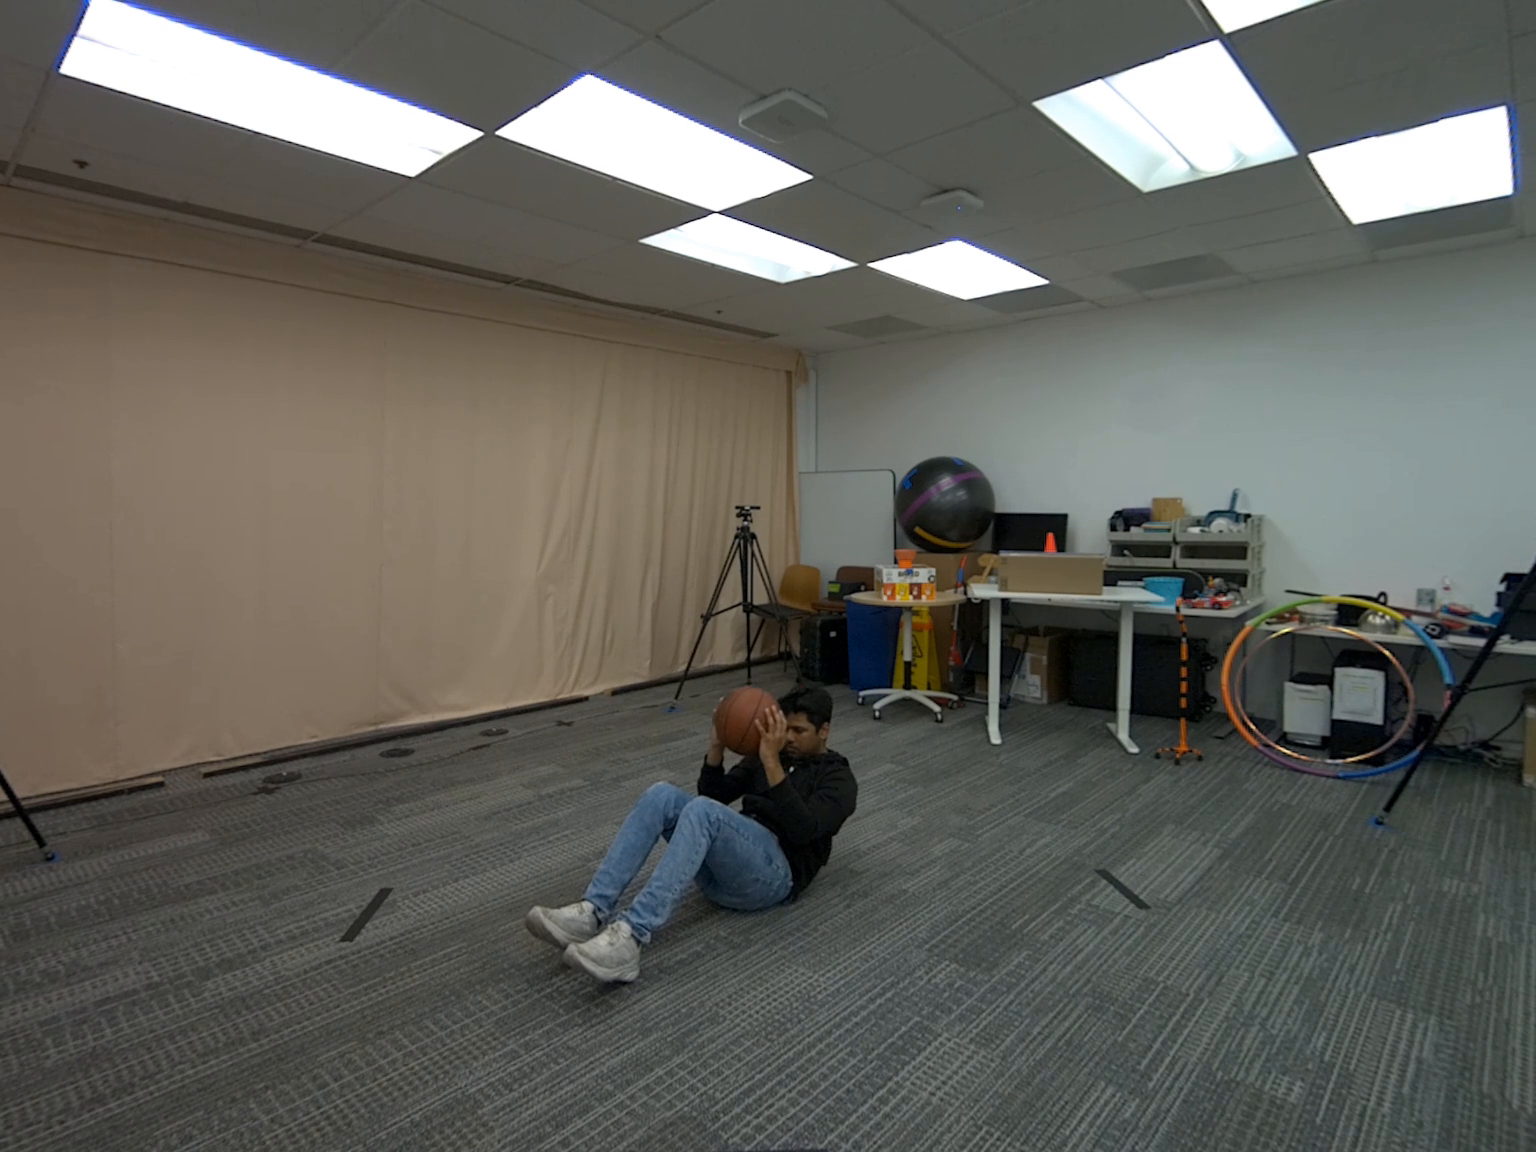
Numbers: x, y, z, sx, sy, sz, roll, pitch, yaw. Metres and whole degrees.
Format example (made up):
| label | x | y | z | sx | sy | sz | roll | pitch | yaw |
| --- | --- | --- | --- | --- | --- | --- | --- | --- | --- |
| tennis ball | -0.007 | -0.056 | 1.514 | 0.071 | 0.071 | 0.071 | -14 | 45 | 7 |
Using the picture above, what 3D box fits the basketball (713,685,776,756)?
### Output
| label | x | y | z | sx | sy | sz | roll | pitch | yaw |
| --- | --- | --- | --- | --- | --- | --- | --- | --- | --- |
| basketball | -0.053 | 0.510 | 2.965 | 0.236 | 0.235 | 0.237 | 0 | 4 | -2 |
